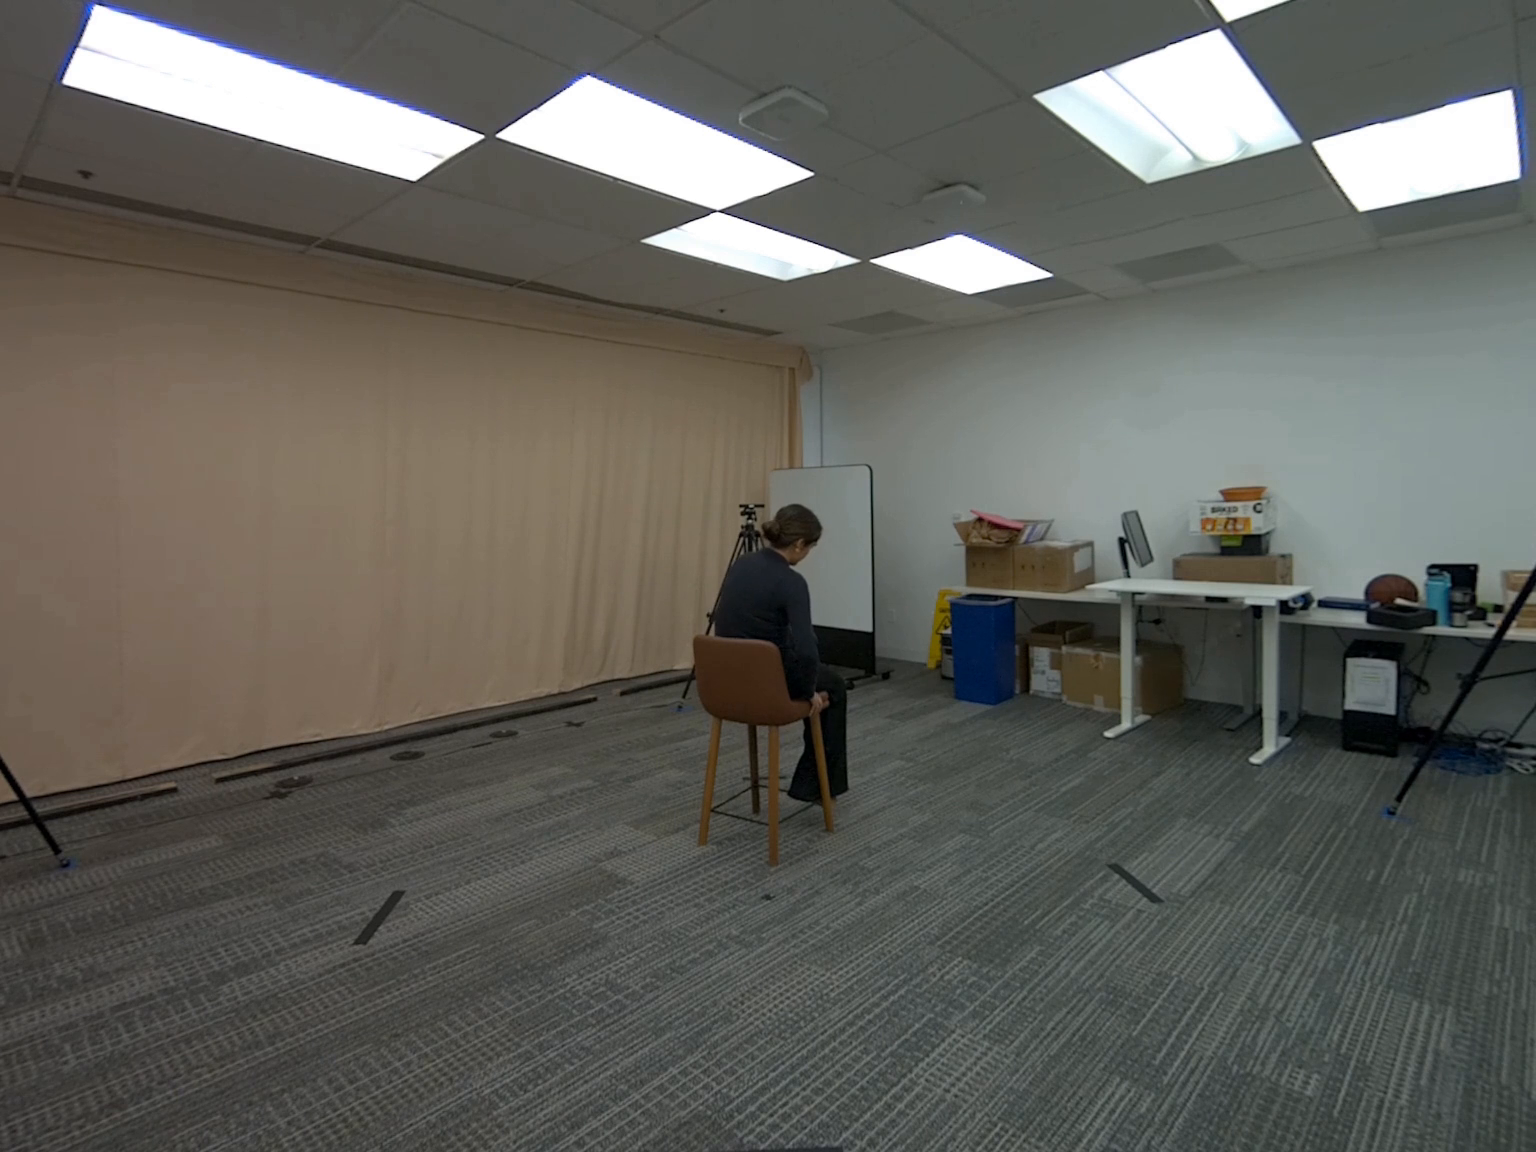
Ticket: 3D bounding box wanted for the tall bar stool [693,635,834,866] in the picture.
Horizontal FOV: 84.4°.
[{"bbox_3d":[-0.025,0.664,3.500,0.471,0.887,0.454,0,4,35],"label":"tall bar stool"}]
